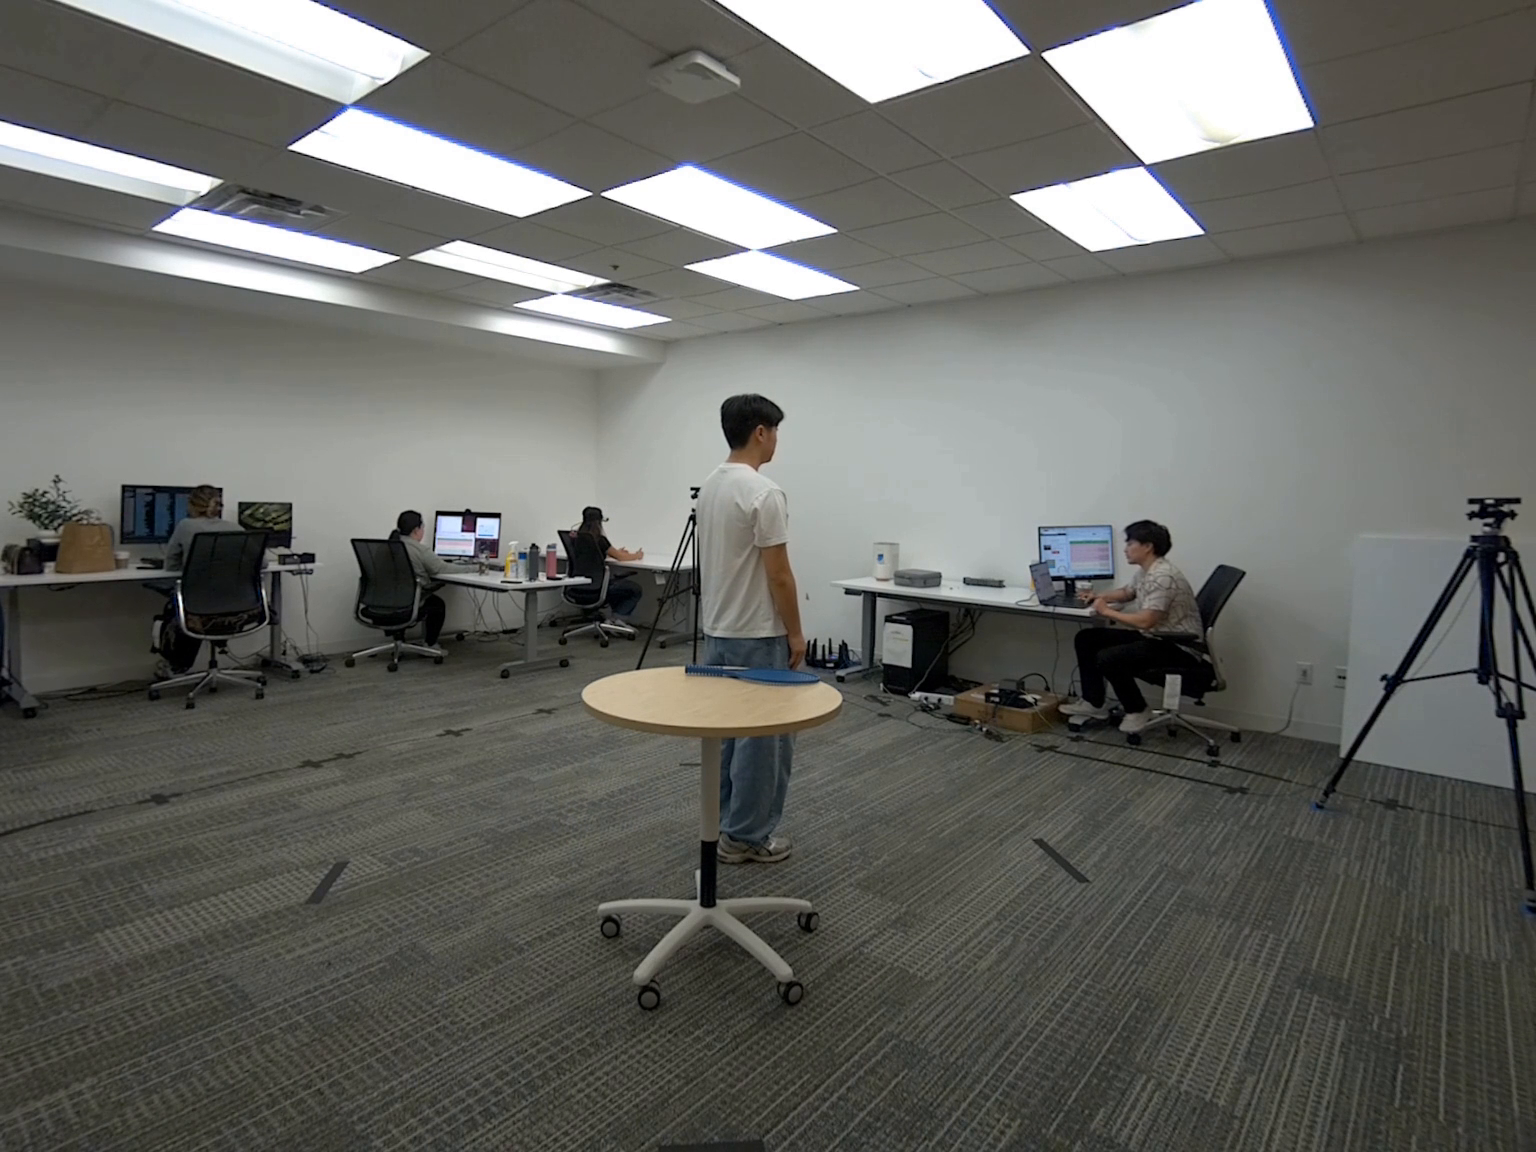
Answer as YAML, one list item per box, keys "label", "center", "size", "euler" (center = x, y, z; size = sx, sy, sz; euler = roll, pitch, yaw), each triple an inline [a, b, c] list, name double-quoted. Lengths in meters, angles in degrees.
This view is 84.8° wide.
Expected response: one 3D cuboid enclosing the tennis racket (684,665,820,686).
- label: "tennis racket"
  center: [-0.062, 0.313, 2.735]
  size: [0.435, 0.032, 0.213]
  euler: [3, 3, 4]
